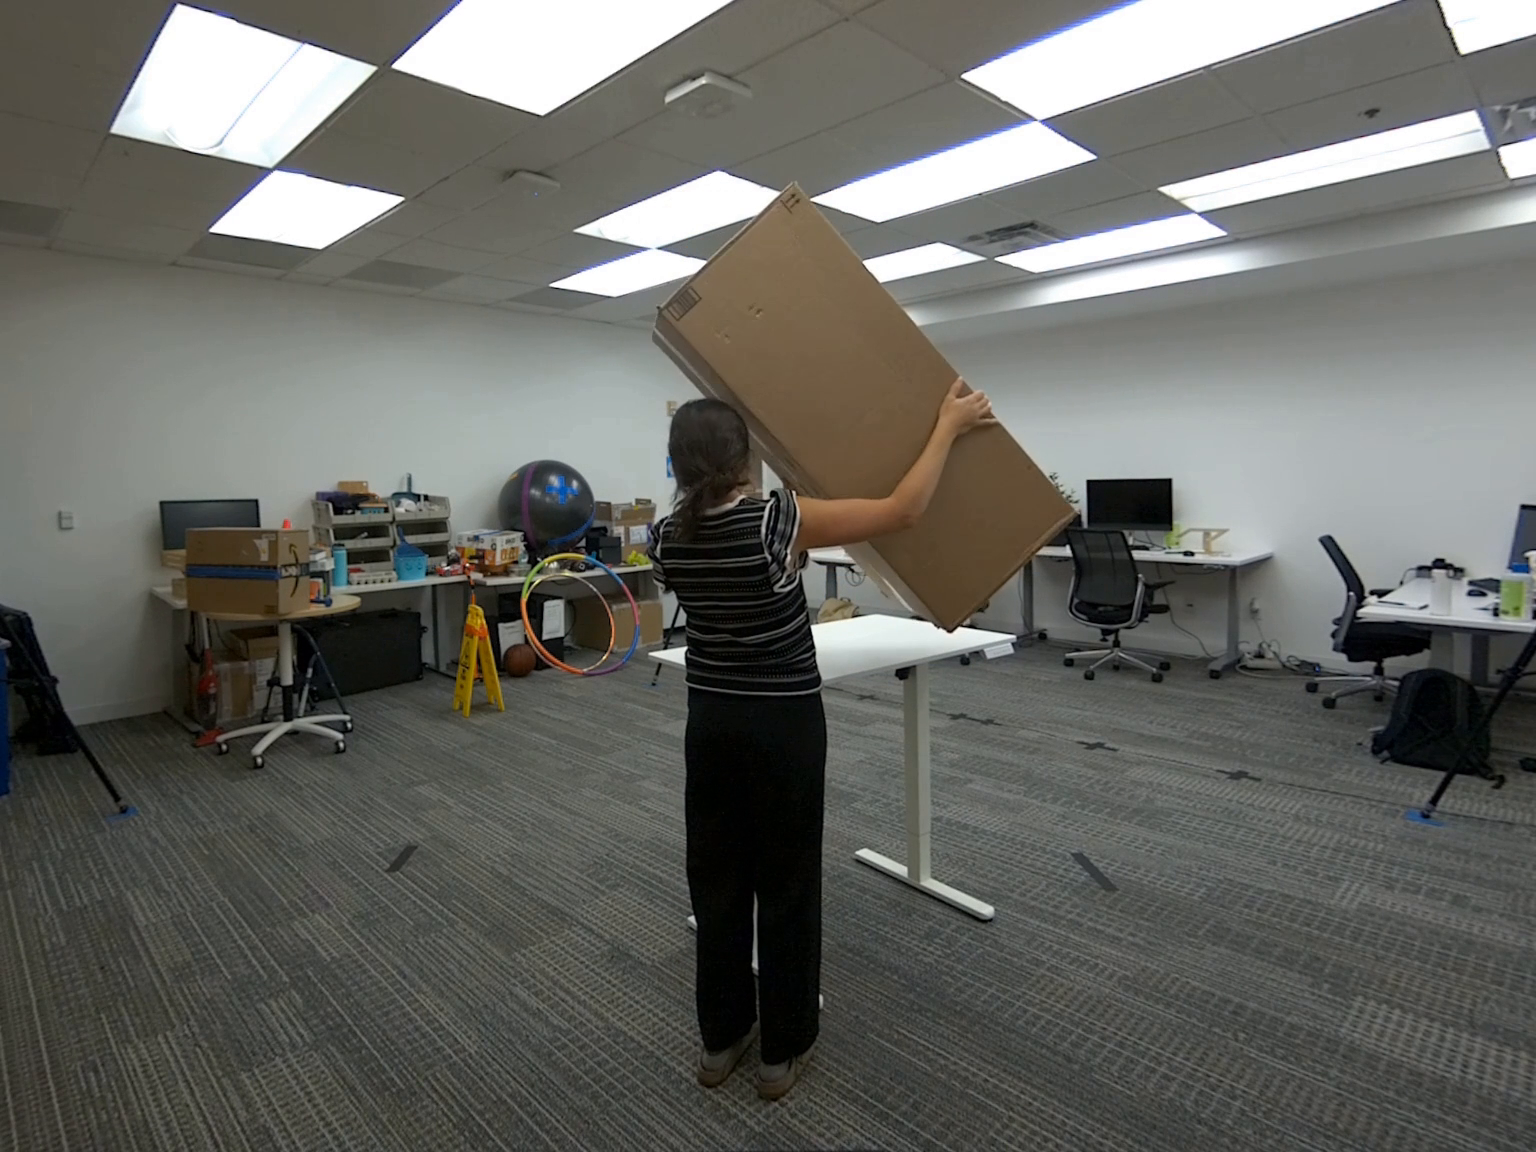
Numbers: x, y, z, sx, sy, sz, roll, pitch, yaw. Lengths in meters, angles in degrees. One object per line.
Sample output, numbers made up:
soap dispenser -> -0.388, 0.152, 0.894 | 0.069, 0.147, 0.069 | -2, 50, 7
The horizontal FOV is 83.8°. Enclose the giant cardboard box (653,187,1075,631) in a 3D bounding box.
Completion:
giant cardboard box -> 0.218, -0.415, 2.241 | 0.426, 1.014, 0.585 | -43, 9, -3
